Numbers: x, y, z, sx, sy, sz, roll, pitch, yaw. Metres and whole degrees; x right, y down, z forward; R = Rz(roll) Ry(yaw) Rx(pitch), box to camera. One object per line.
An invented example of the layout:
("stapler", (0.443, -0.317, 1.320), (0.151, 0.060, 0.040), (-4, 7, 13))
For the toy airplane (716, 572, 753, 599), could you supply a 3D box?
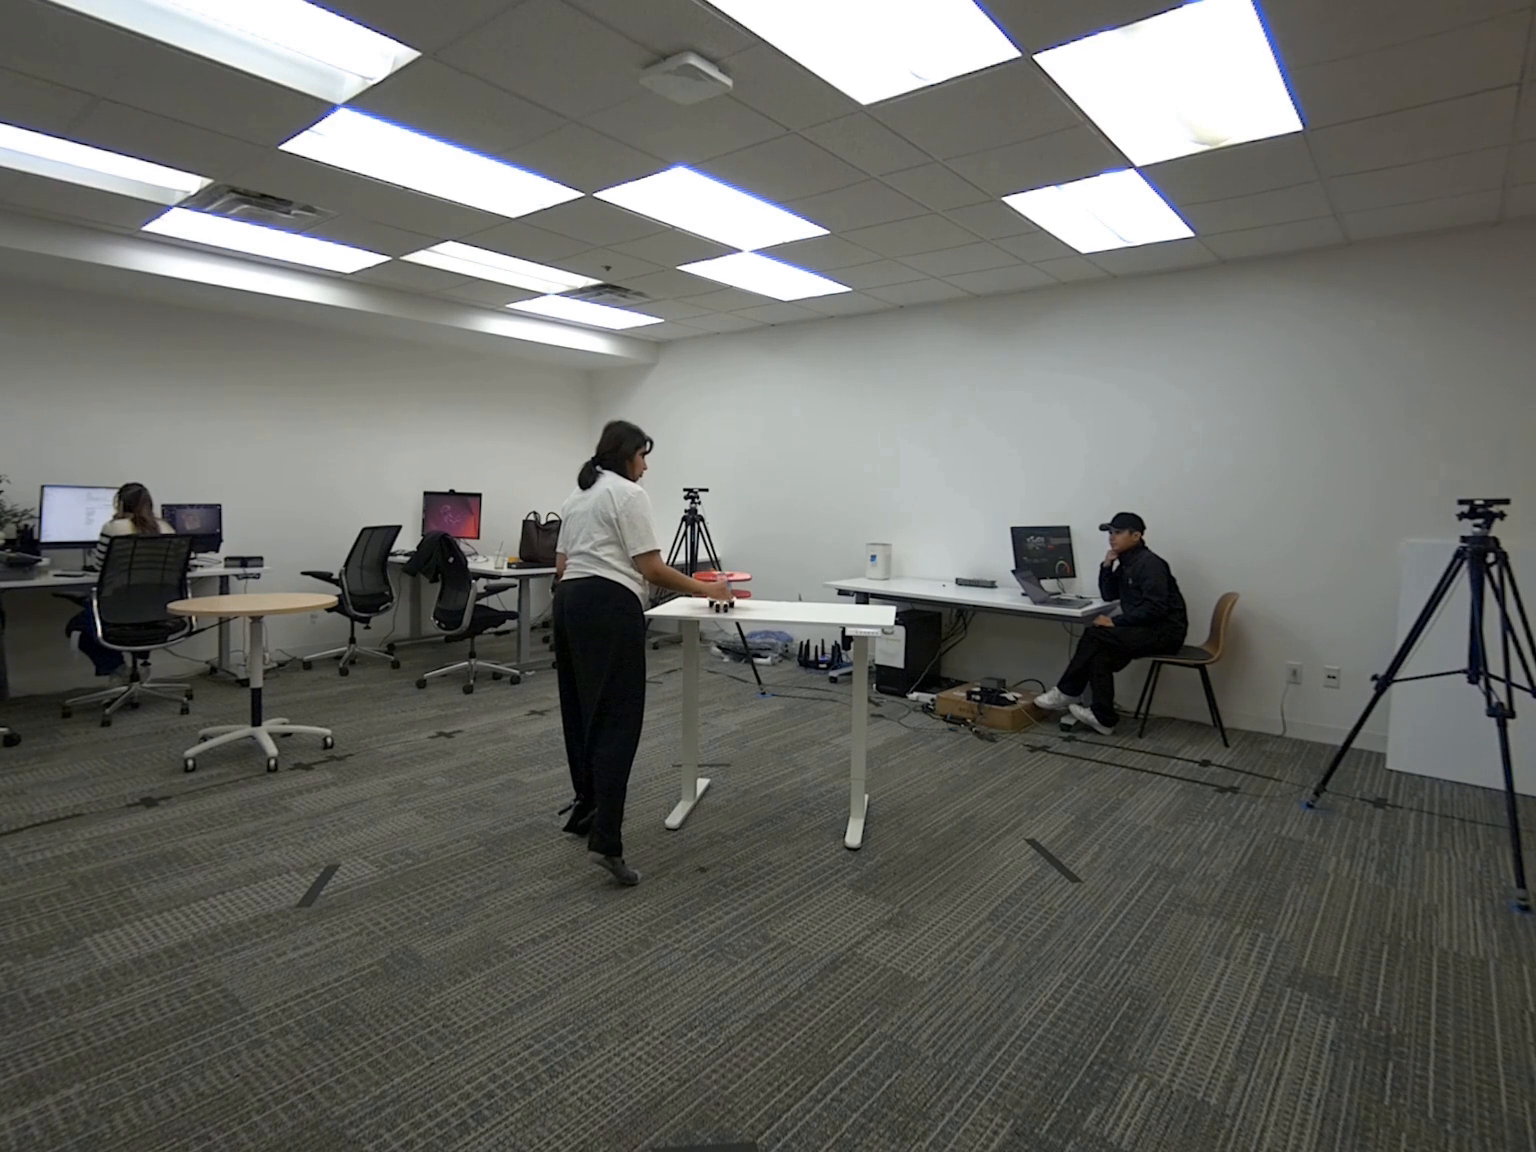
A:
("toy airplane", (-0.185, 0.066, 3.609), (0.244, 0.156, 0.267), (0, 3, -29))
